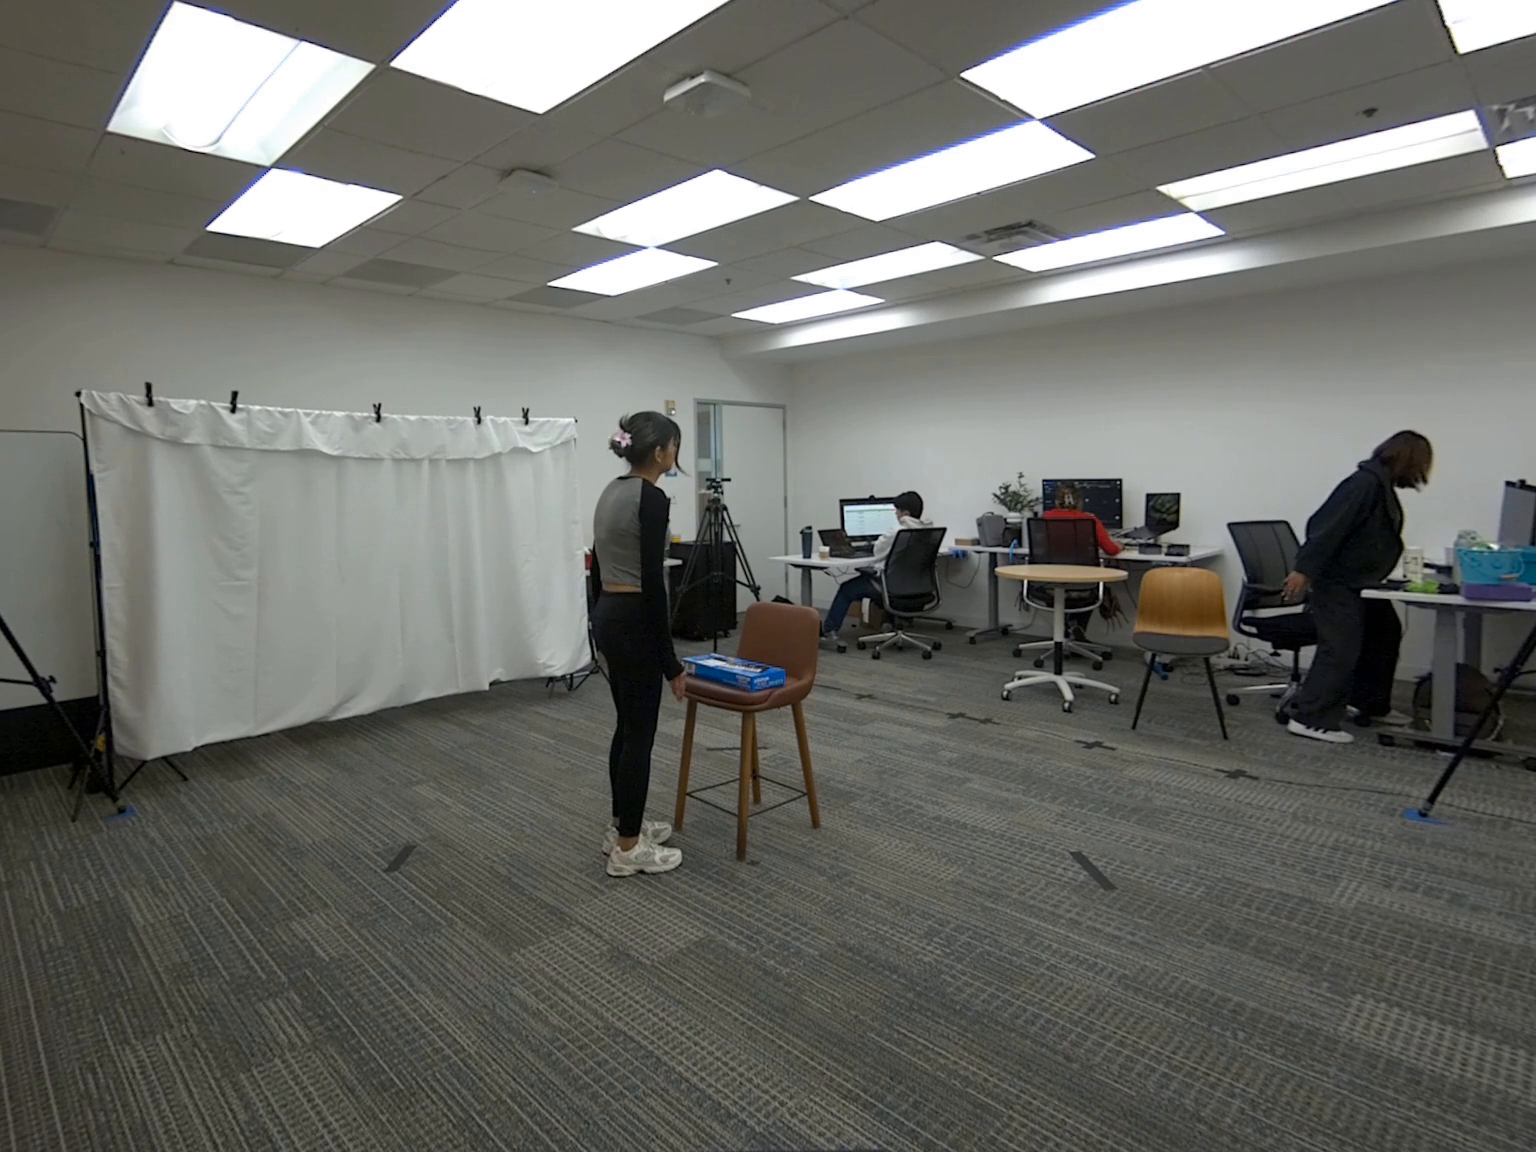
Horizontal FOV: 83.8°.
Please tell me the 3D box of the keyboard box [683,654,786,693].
[{"bbox_3d":[-0.149,0.372,3.342,0.171,0.059,0.450,-6,8,-41],"label":"keyboard box"}]
